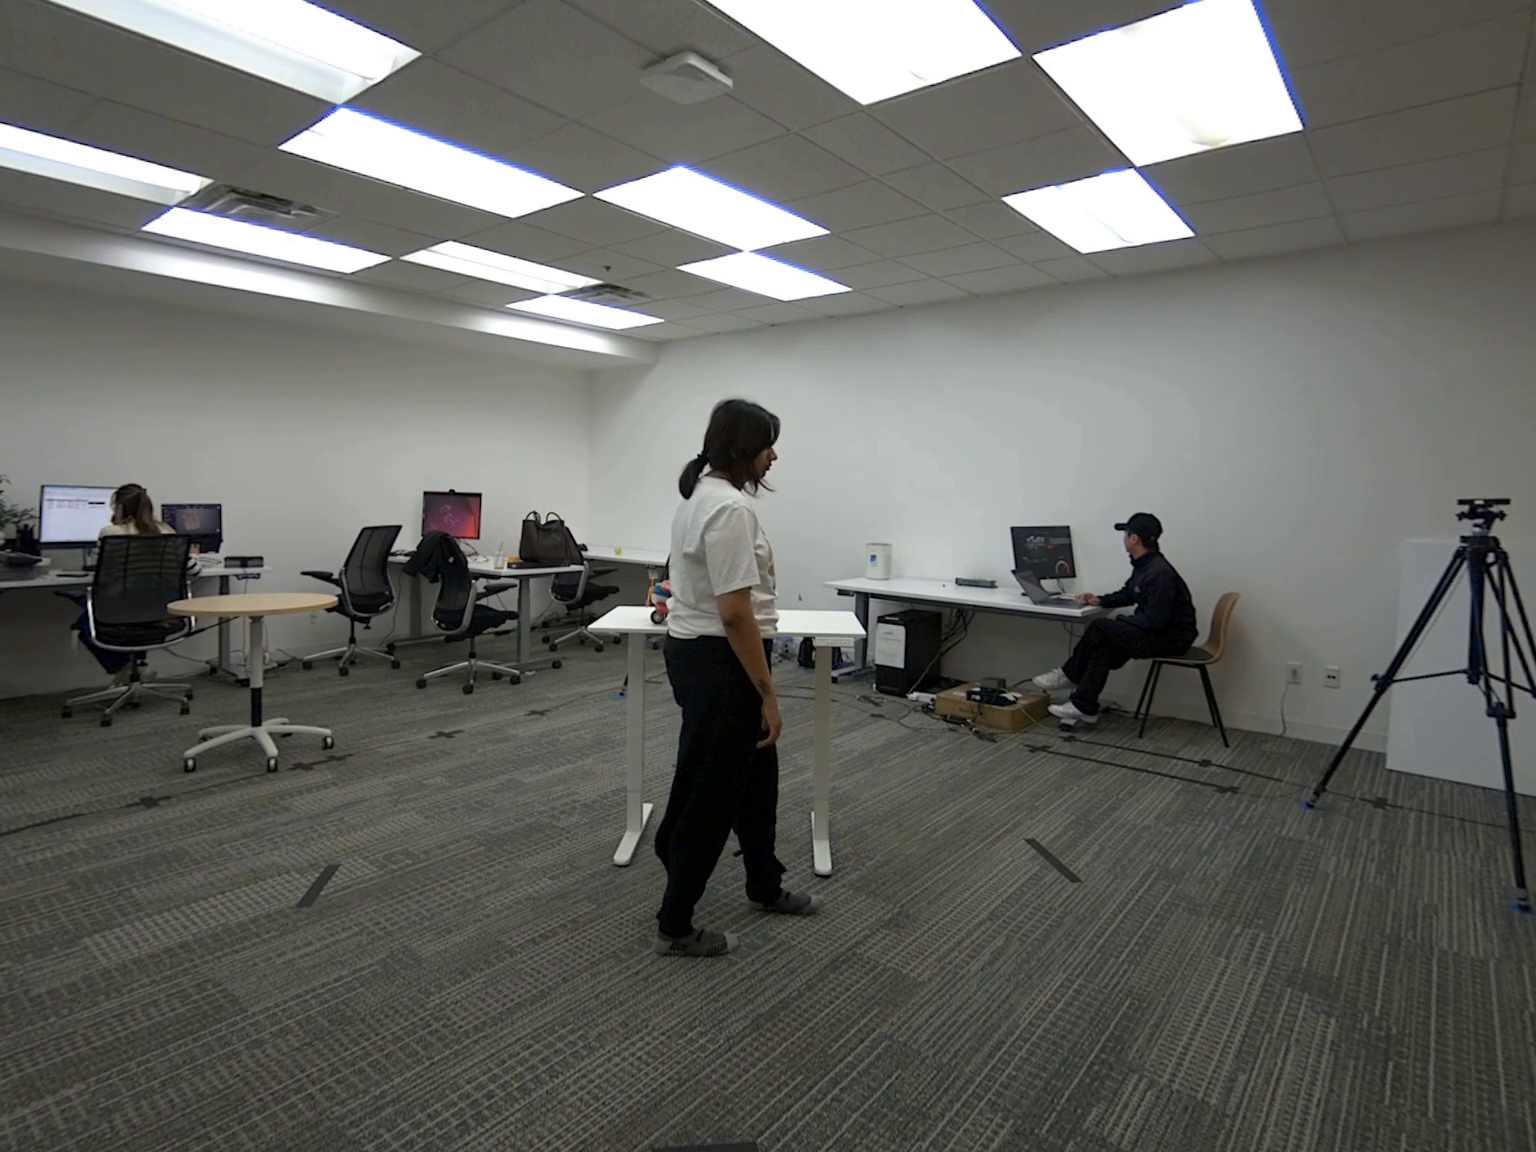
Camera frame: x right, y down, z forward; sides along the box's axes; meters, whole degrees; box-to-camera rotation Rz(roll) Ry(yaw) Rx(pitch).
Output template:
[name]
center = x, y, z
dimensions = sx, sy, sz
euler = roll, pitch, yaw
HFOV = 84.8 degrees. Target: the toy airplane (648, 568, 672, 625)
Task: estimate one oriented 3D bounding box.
[toy airplane]
center = -0.344, 0.096, 3.238
dimensions = 0.253, 0.156, 0.258
euler = -1, 6, -27
